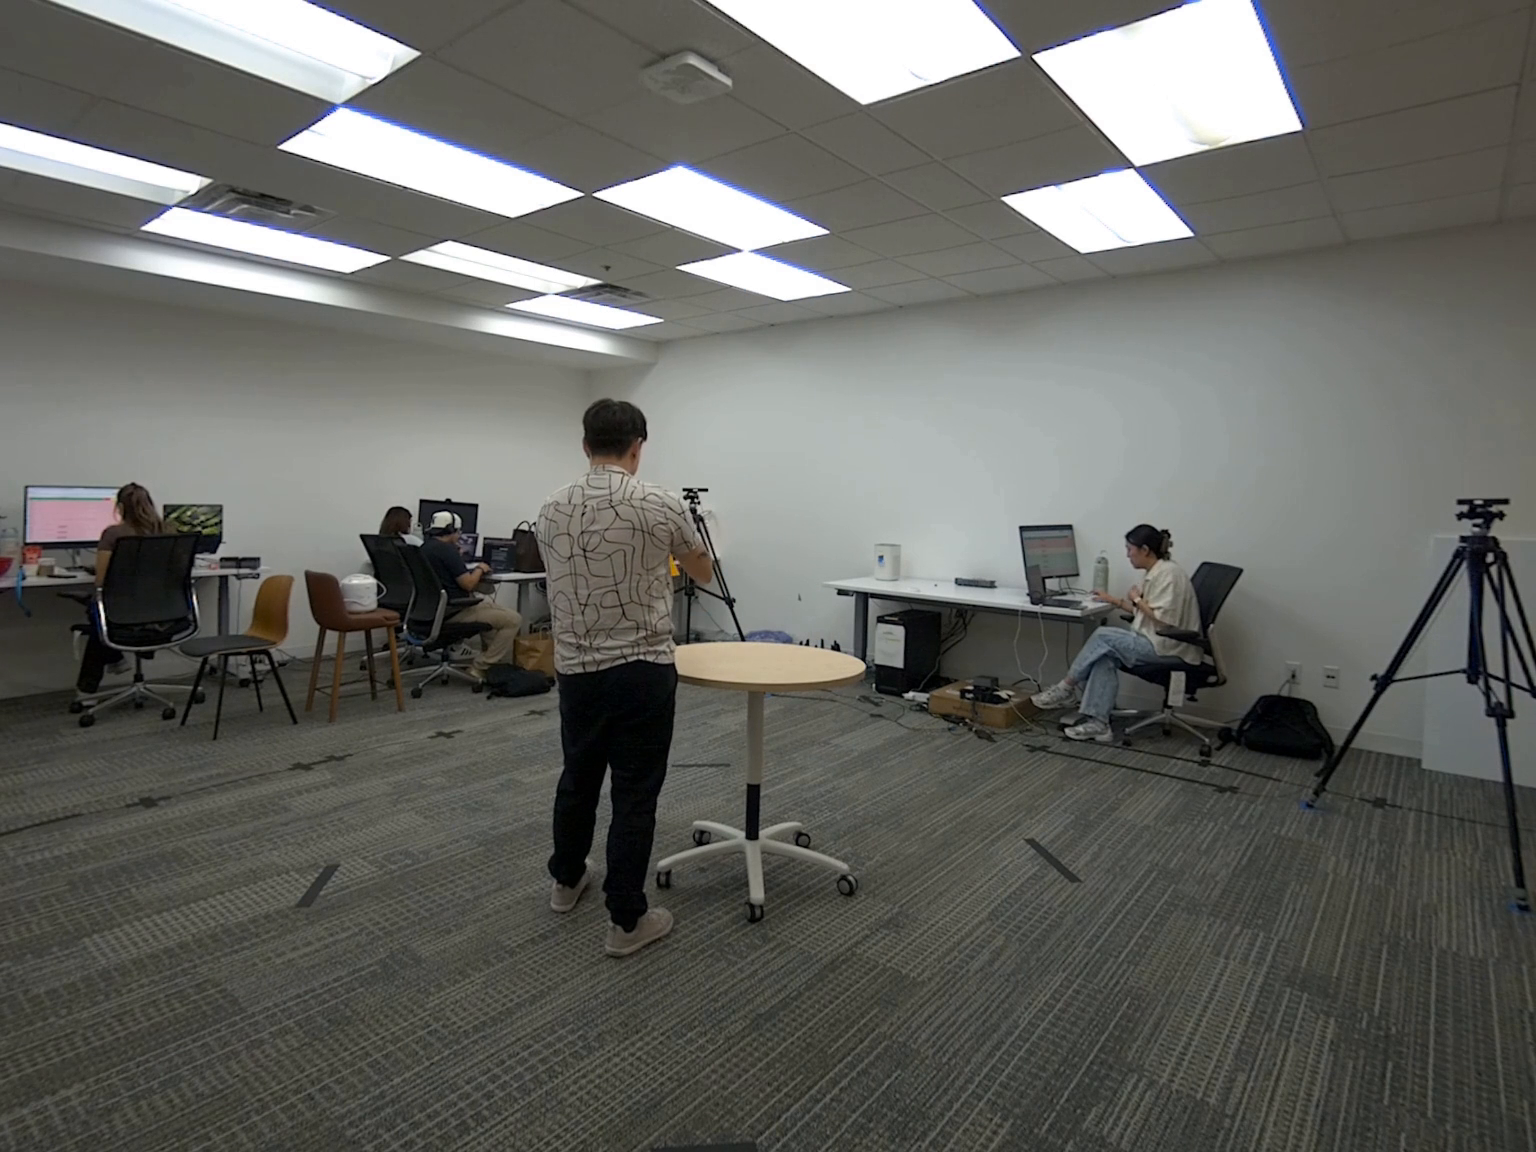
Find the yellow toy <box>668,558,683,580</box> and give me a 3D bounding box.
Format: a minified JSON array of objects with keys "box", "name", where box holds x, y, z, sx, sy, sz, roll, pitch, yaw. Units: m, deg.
[{"box":[-0.445,-0.064,2.941,0.213,0.228,0.187,25,21,38],"name":"yellow toy"}]
